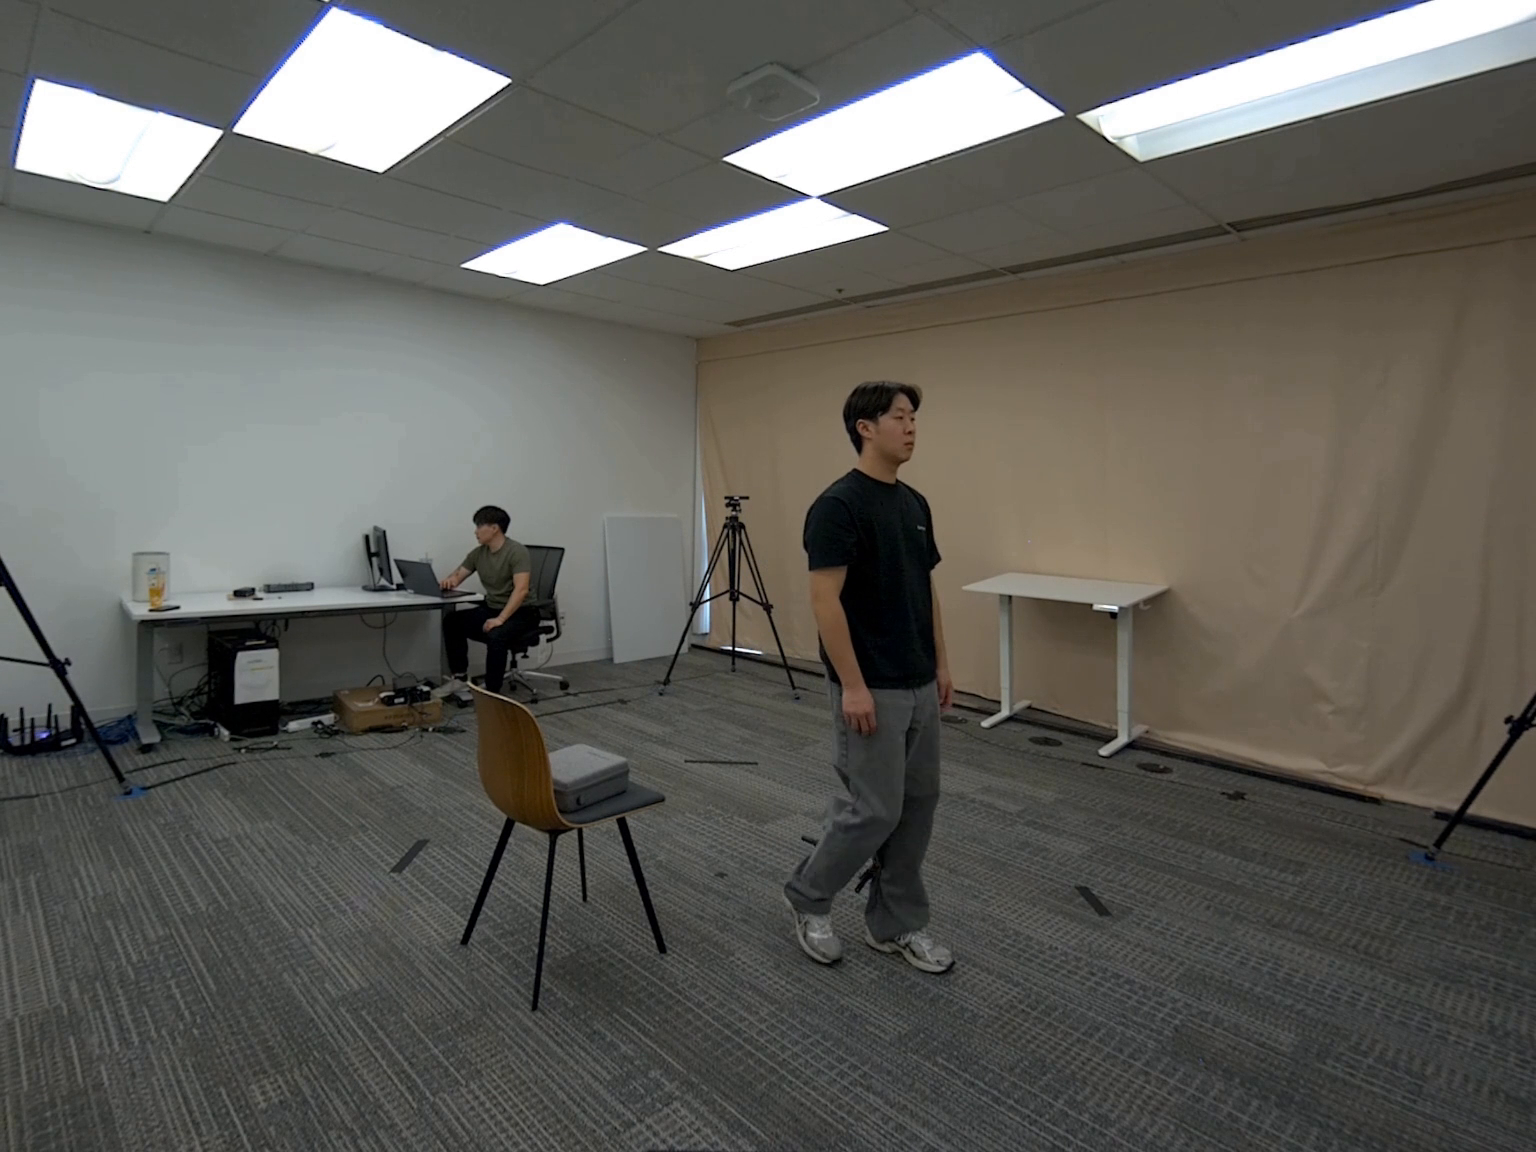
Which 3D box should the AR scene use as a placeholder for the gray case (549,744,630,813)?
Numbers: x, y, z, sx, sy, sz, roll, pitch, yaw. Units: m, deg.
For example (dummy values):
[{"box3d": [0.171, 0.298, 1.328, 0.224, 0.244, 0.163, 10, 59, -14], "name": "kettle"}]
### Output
[{"box3d": [-0.594, 0.611, 2.552, 0.270, 0.102, 0.281, 6, 11, 41], "name": "gray case"}]
